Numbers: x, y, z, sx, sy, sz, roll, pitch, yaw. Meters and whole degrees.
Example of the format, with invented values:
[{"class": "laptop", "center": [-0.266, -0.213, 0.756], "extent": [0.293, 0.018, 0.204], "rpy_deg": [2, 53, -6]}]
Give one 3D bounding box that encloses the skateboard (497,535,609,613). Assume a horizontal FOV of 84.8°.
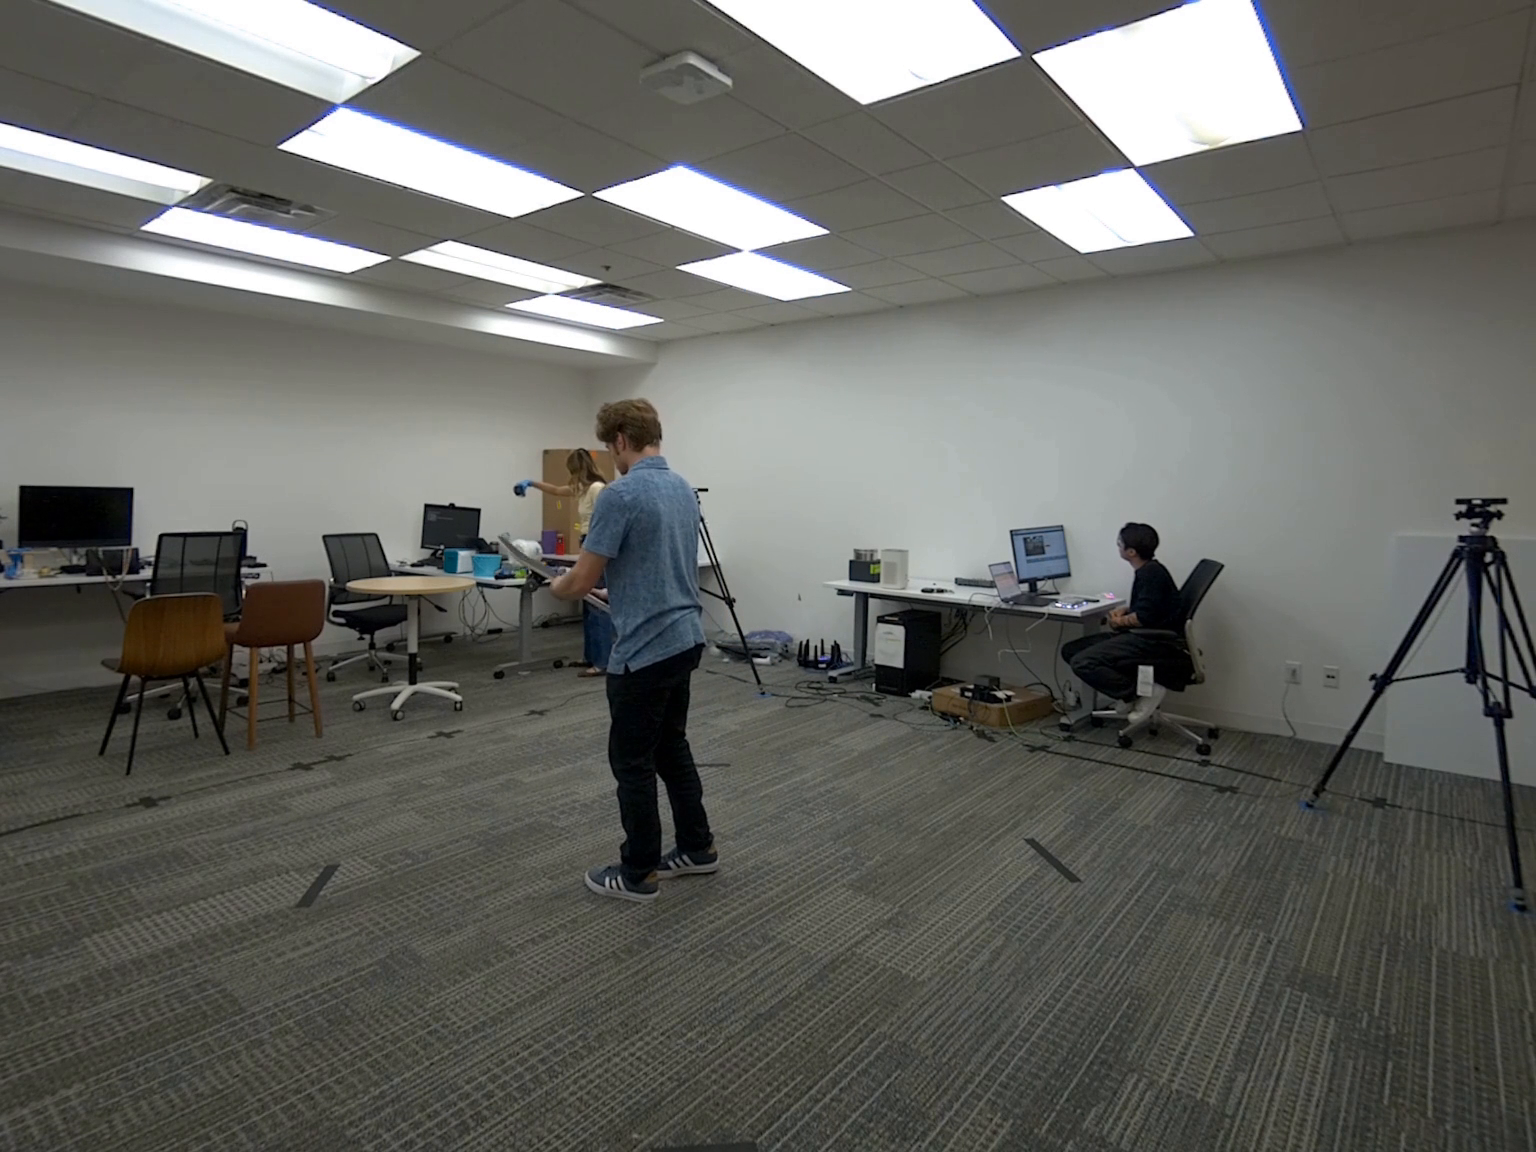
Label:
[{"class": "skateboard", "center": [-0.694, 0.093, 3.165], "extent": [0.772, 0.110, 0.197], "rpy_deg": [31, 0, -13]}]
